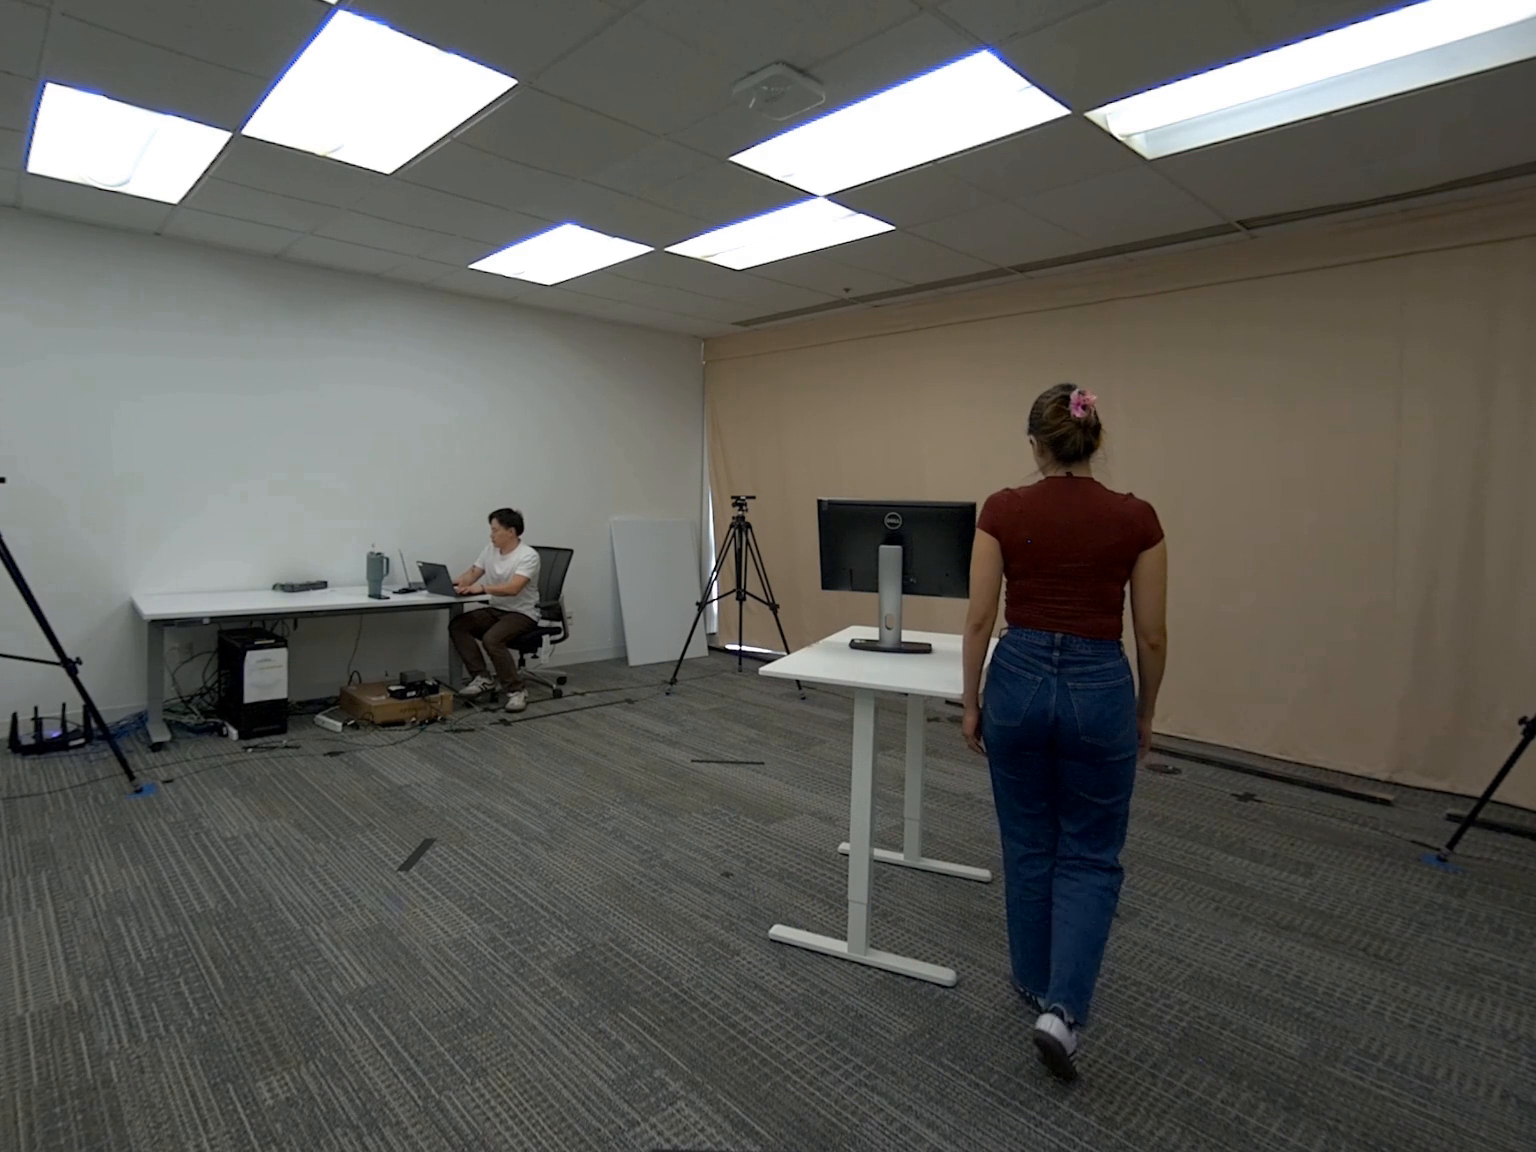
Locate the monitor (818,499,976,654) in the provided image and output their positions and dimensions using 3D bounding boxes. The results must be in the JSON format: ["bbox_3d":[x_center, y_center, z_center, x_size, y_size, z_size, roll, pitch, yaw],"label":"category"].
[{"bbox_3d":[0.425,0.001,2.889,0.546,0.520,0.185,3,7,16],"label":"monitor"}]
